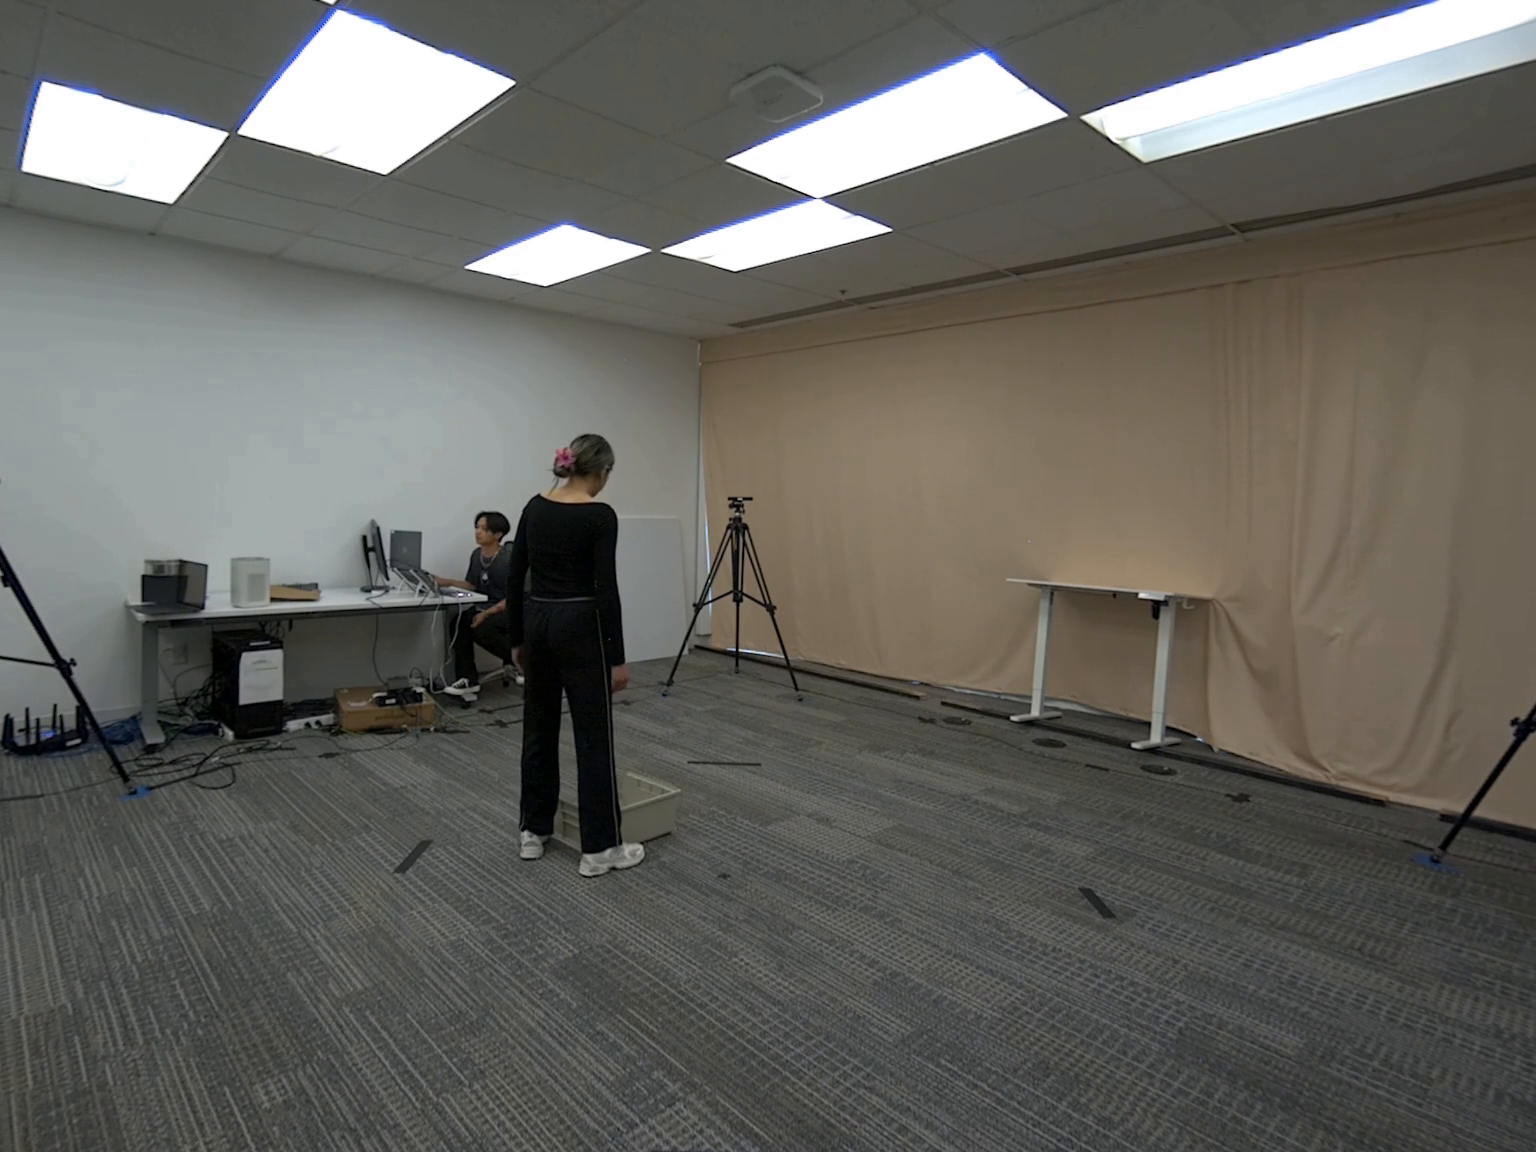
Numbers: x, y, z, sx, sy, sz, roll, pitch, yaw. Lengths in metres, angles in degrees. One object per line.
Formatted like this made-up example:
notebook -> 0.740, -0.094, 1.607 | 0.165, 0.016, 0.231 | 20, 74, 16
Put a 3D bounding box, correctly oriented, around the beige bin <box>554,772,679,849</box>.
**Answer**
beige bin -> -0.647, 0.971, 3.471 | 0.387, 0.188, 0.413 | 7, 7, 41
